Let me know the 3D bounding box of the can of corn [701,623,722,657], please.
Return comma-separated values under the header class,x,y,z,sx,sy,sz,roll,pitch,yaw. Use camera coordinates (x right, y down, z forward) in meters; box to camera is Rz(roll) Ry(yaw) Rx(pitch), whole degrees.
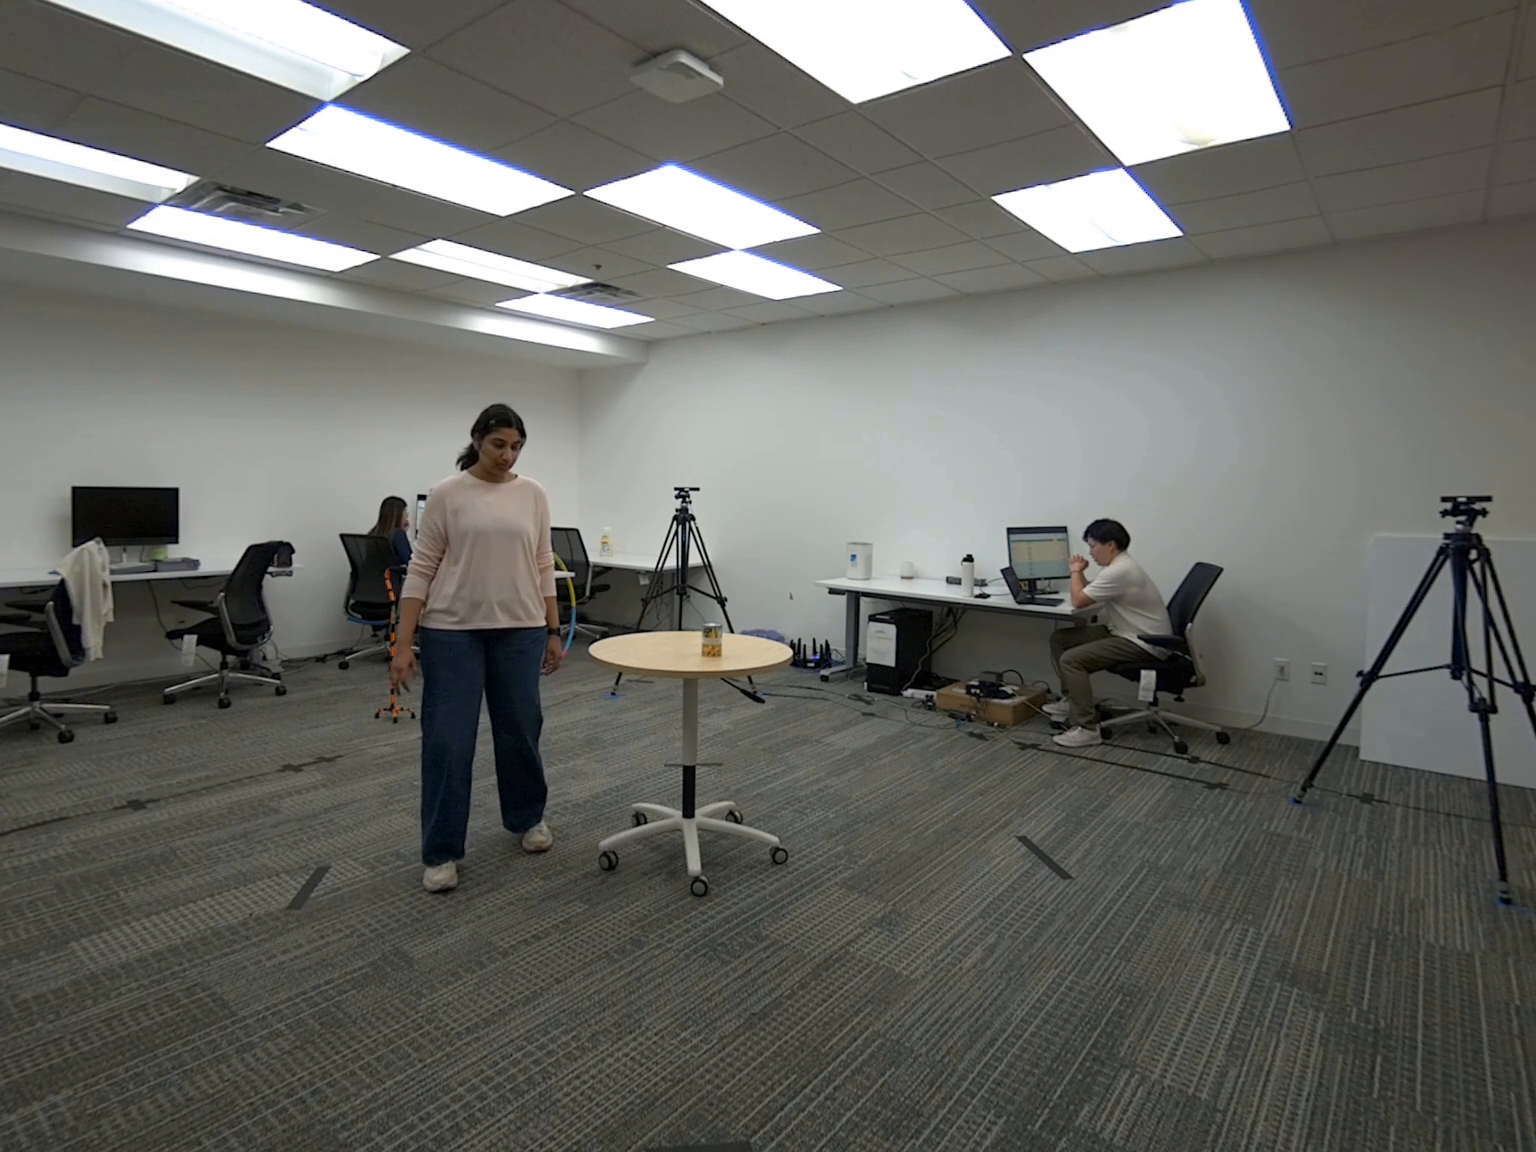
class,x,y,z,sx,sy,sz,roll,pitch,yaw
can of corn,-0.216,0.233,3.085,0.074,0.111,0.074,0,2,-2
